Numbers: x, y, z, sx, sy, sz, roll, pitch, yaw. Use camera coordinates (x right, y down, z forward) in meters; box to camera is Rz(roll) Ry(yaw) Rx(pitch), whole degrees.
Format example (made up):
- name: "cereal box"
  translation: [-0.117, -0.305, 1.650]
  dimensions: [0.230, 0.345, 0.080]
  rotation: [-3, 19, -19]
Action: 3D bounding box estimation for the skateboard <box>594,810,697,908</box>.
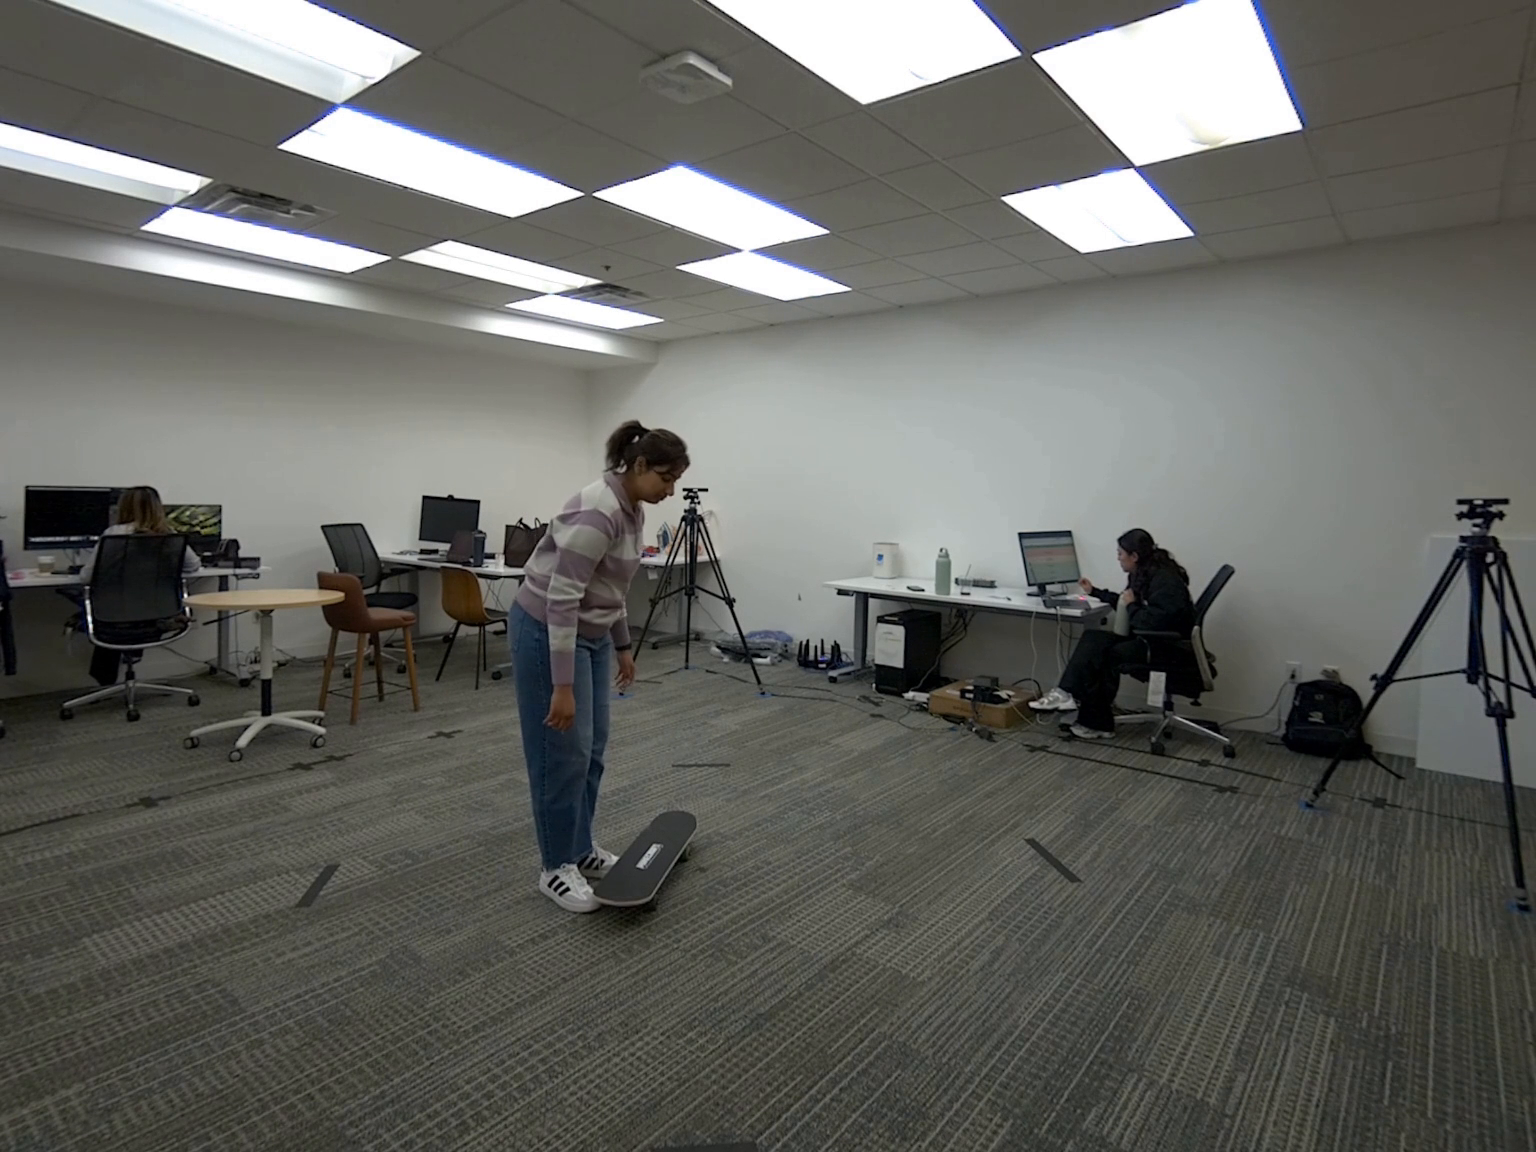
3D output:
- name: "skateboard"
  translation: [-0.428, 1.017, 3.009]
  dimensions: [0.196, 0.110, 0.778]
  rotation: [1, 5, 10]
